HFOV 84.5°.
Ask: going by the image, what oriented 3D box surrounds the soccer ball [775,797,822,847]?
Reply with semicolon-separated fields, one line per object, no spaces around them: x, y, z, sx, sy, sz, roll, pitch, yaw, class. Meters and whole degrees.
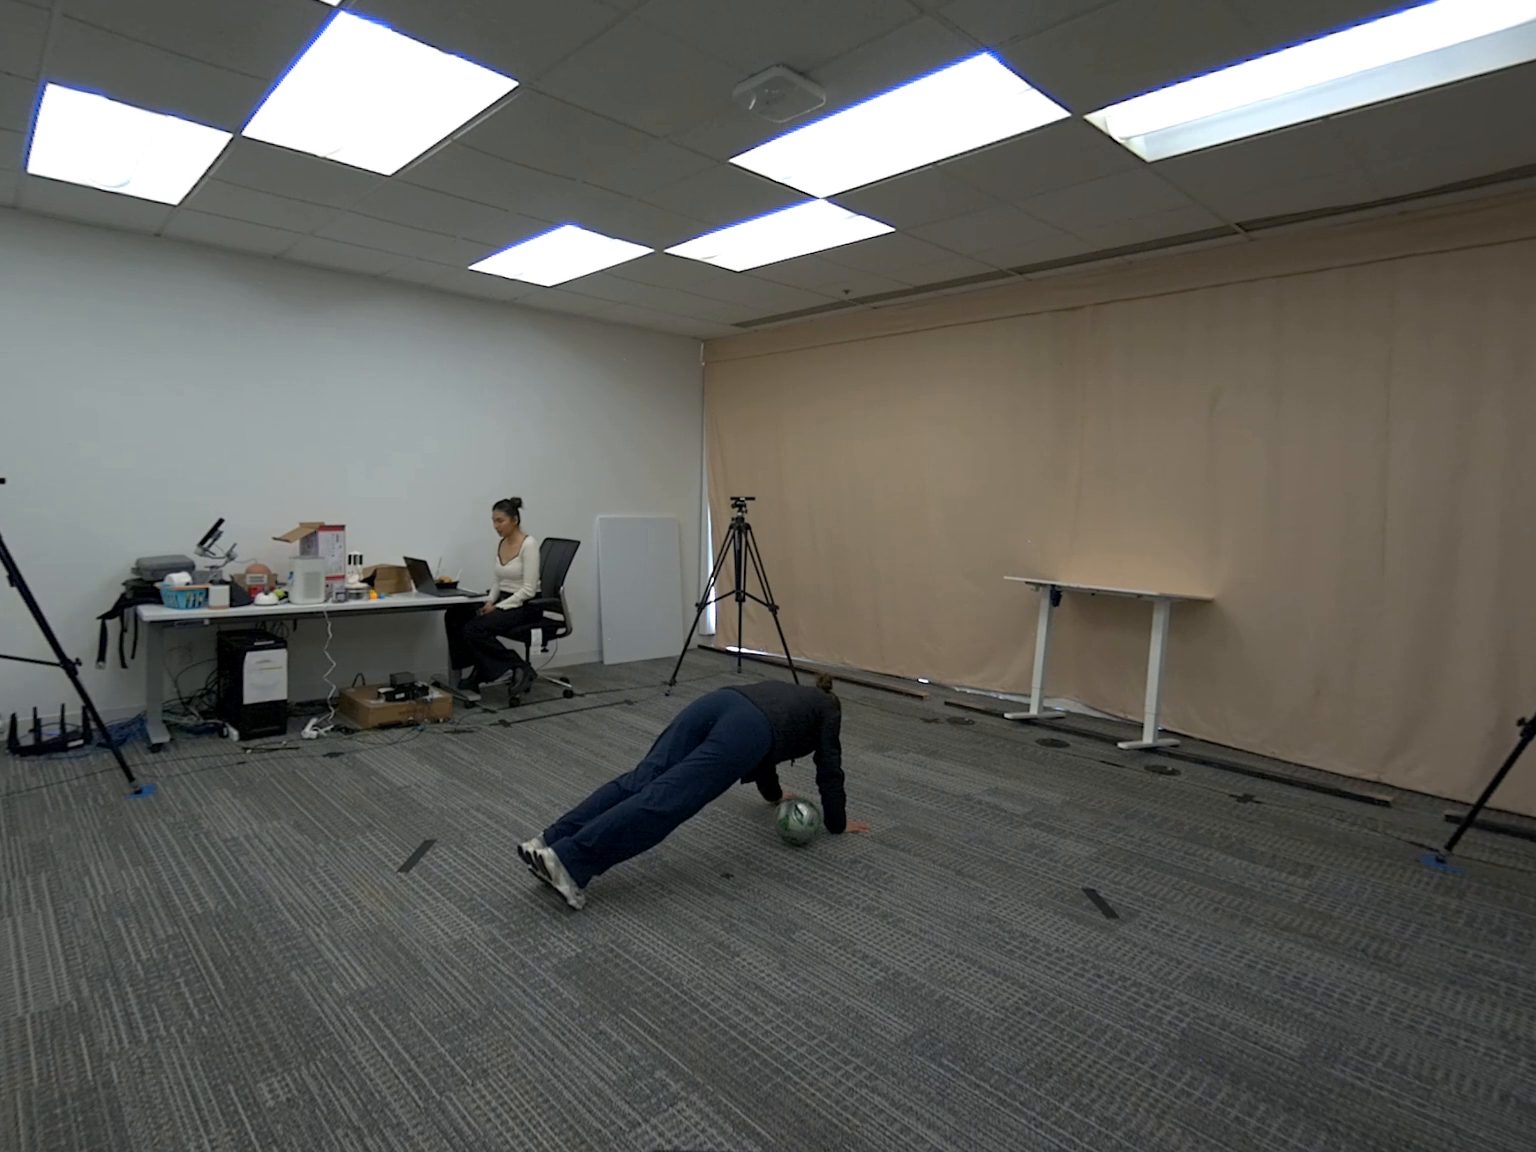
0.108;0.992;3.412;0.187;0.187;0.188;1;4;-1;soccer ball
